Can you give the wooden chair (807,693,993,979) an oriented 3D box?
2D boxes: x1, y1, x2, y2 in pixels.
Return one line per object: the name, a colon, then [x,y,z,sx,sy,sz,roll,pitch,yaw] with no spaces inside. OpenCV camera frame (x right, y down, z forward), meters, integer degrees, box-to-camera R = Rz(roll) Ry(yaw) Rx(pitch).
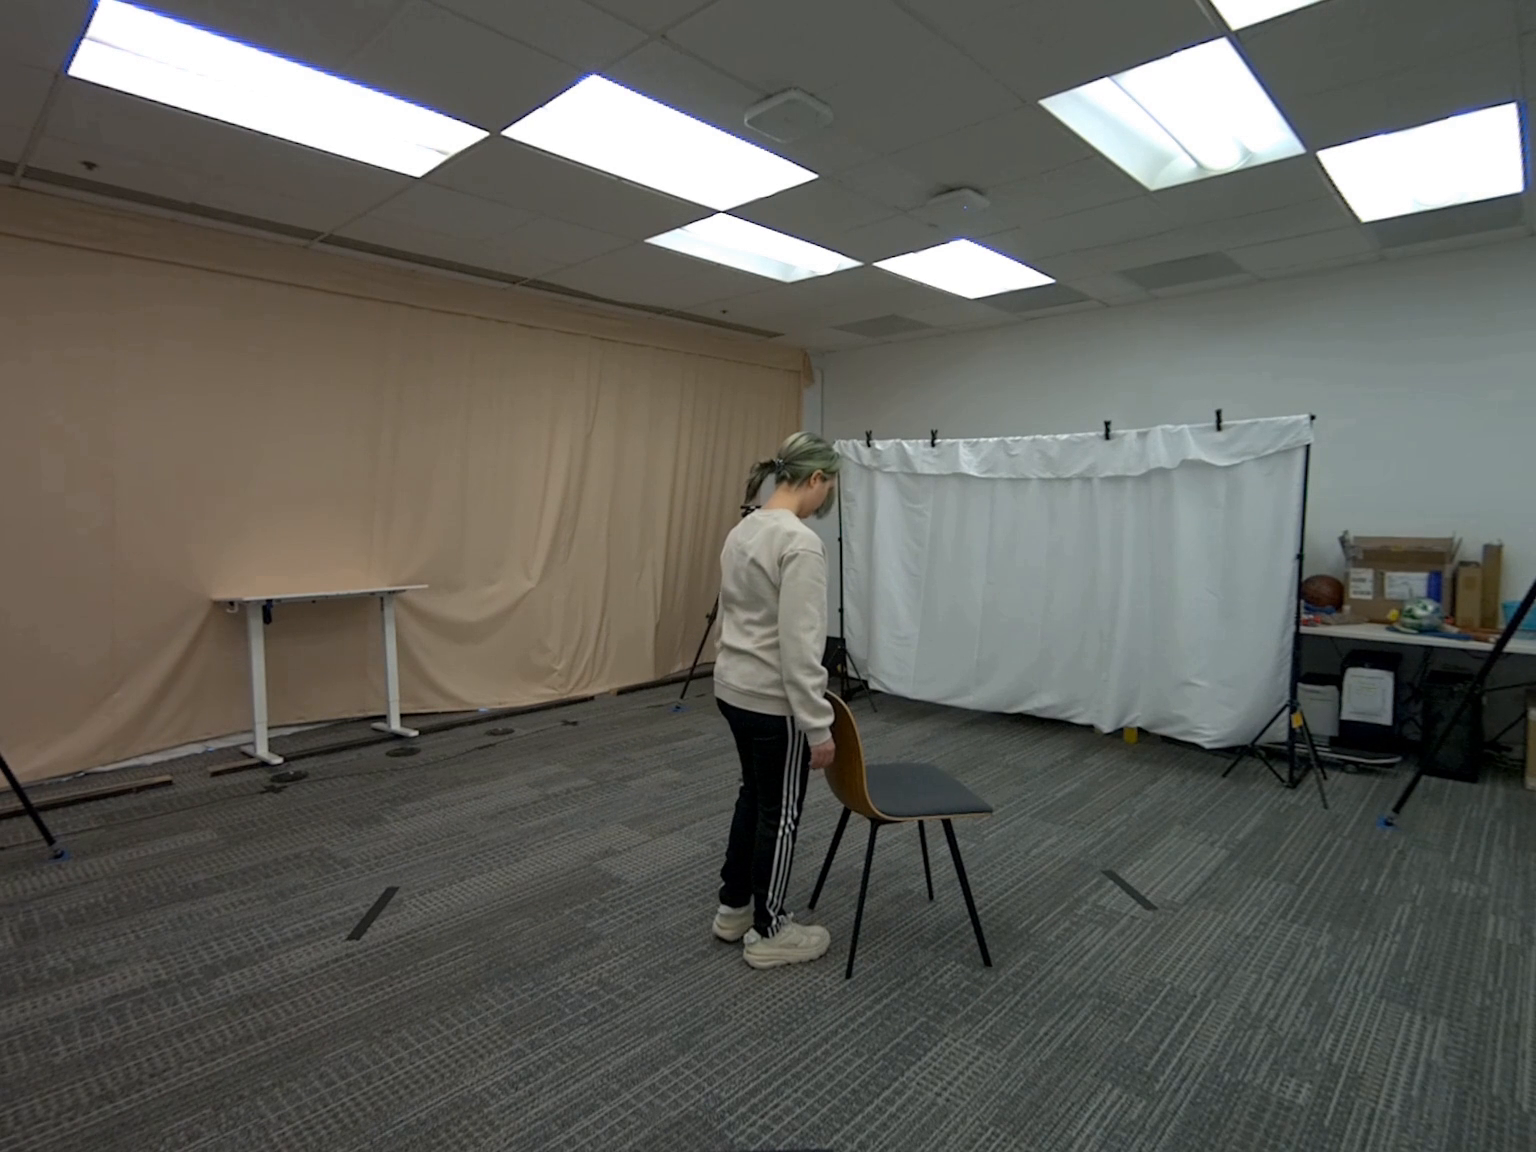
wooden chair: [0.423,0.738,2.707,0.517,0.875,0.484,-5,3,-11]
